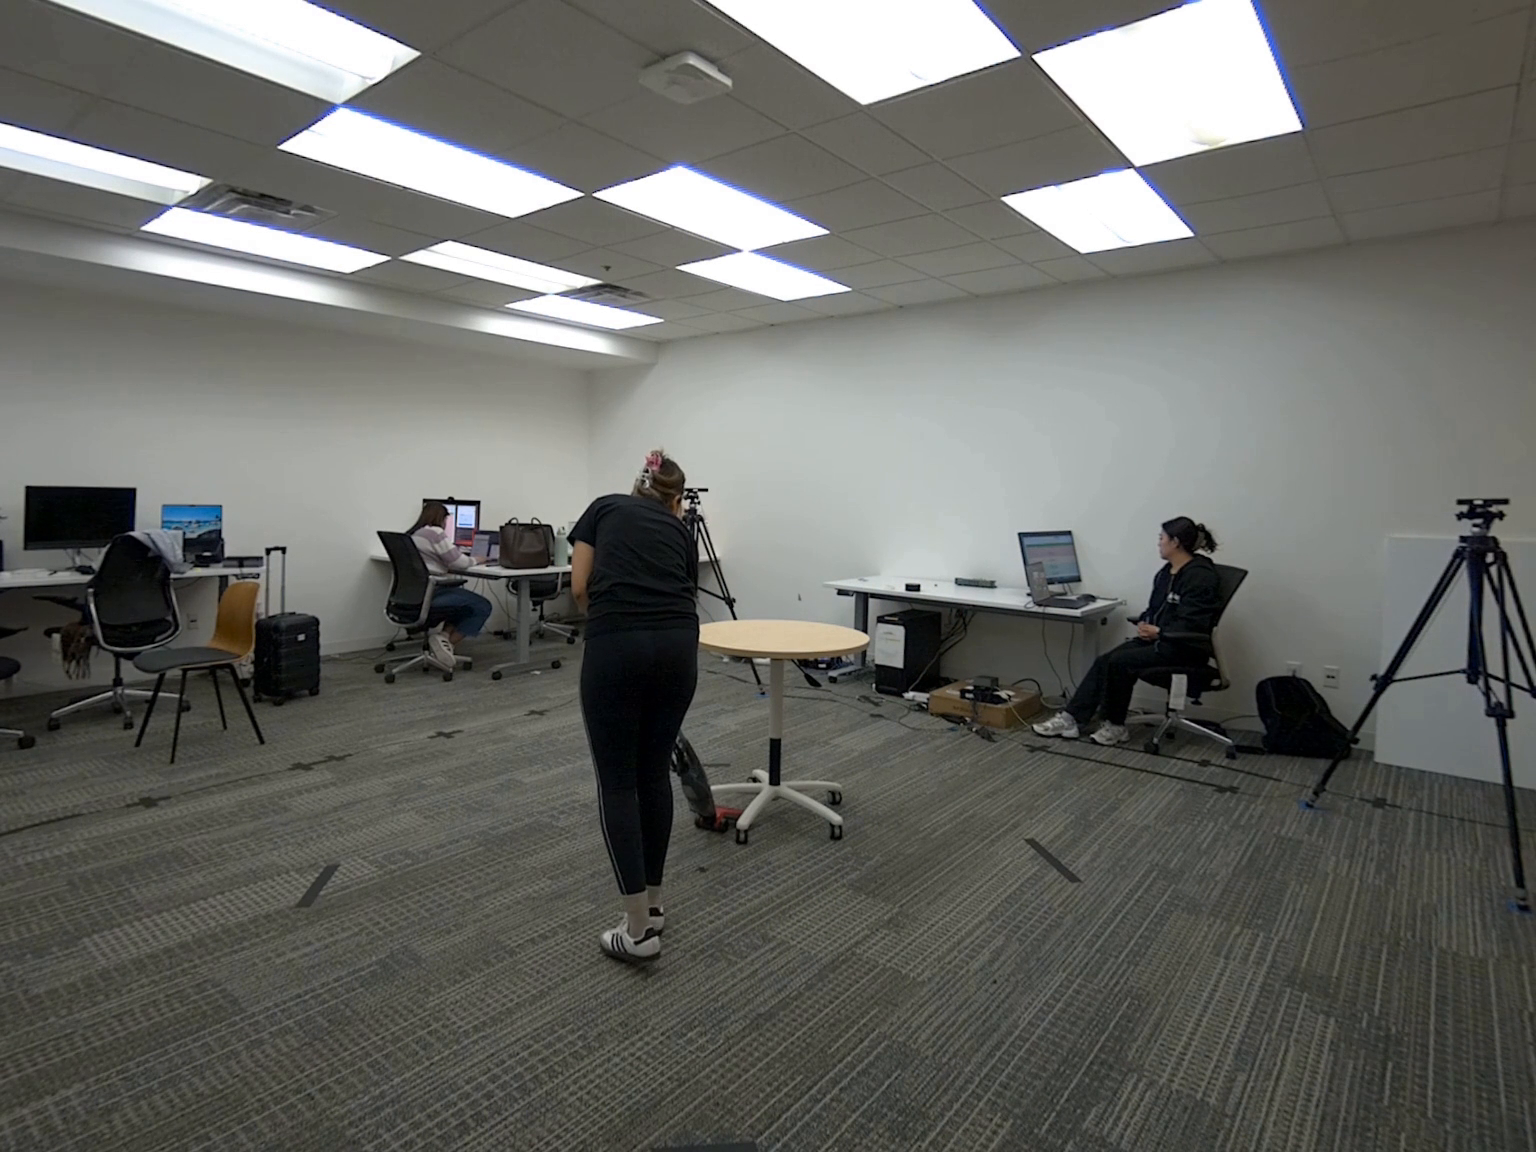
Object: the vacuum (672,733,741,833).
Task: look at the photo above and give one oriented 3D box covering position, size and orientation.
[{"bbox_3d":[-0.350,0.642,3.189,0.260,1.011,0.145,8,47,27],"label":"vacuum"}]
